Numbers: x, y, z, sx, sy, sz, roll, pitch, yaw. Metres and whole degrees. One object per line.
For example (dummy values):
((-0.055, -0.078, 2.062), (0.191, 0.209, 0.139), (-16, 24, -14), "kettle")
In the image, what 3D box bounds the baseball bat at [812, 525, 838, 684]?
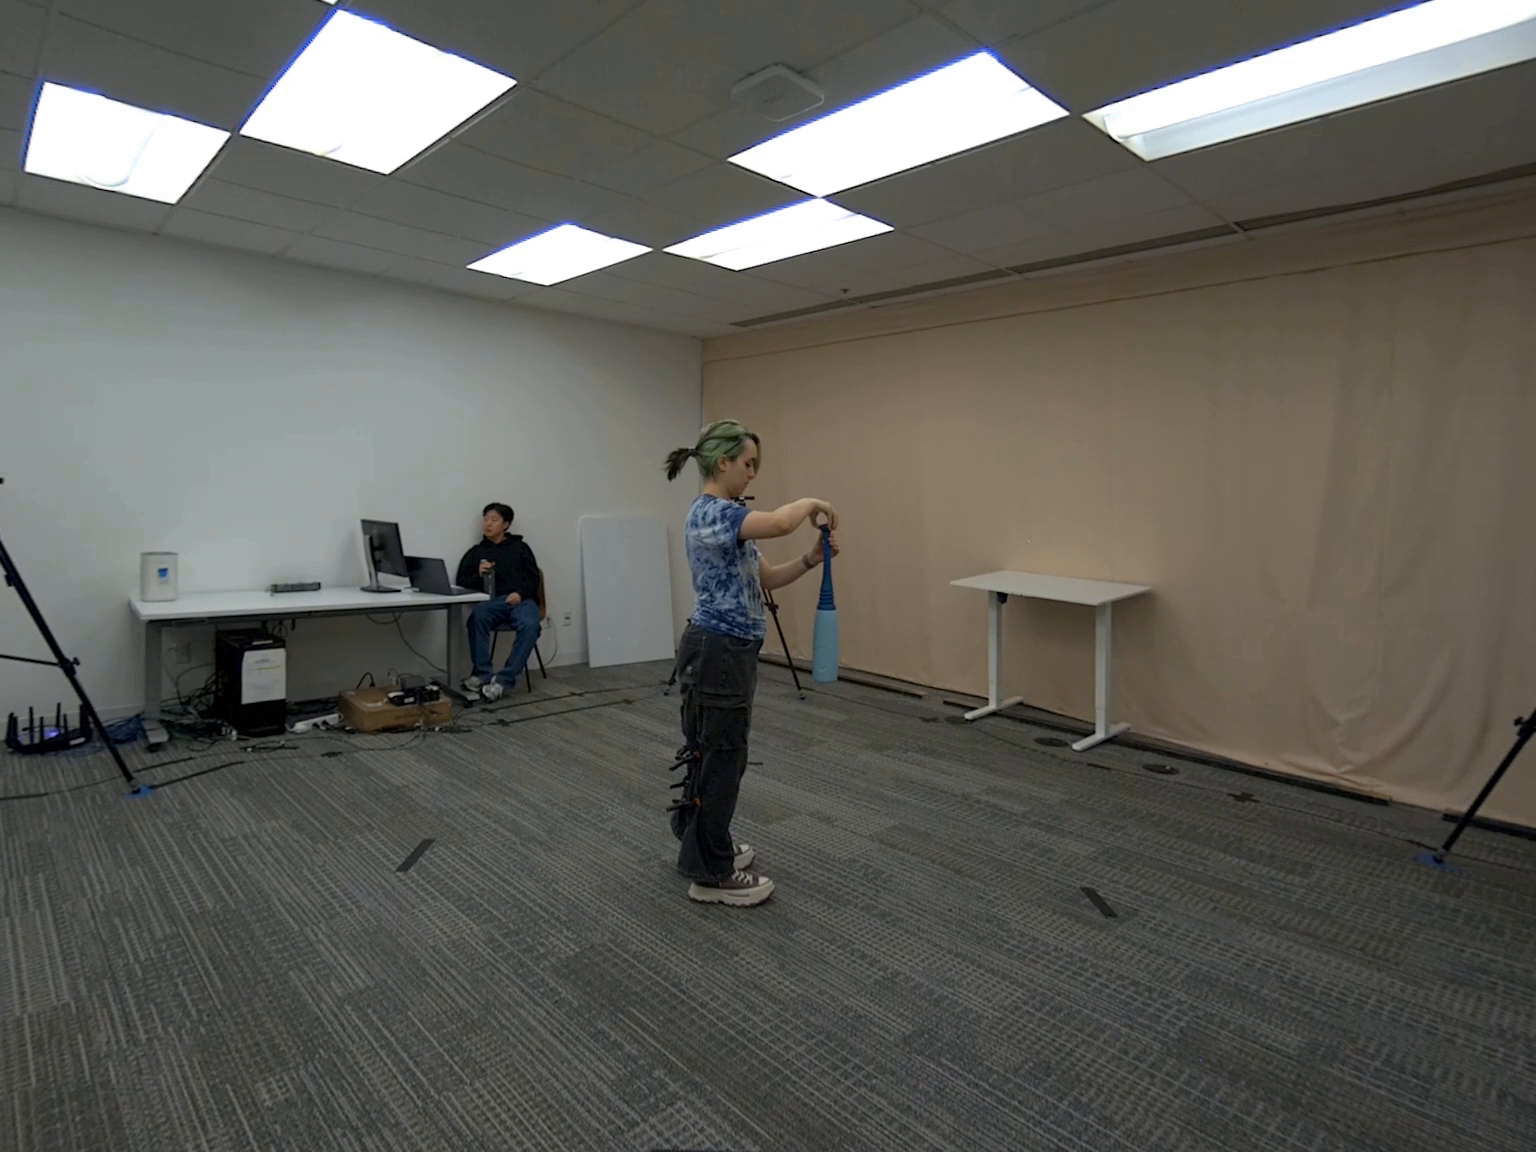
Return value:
((0.186, 0.087, 2.881), (0.089, 0.542, 0.089), (1, 3, -1), "baseball bat")
